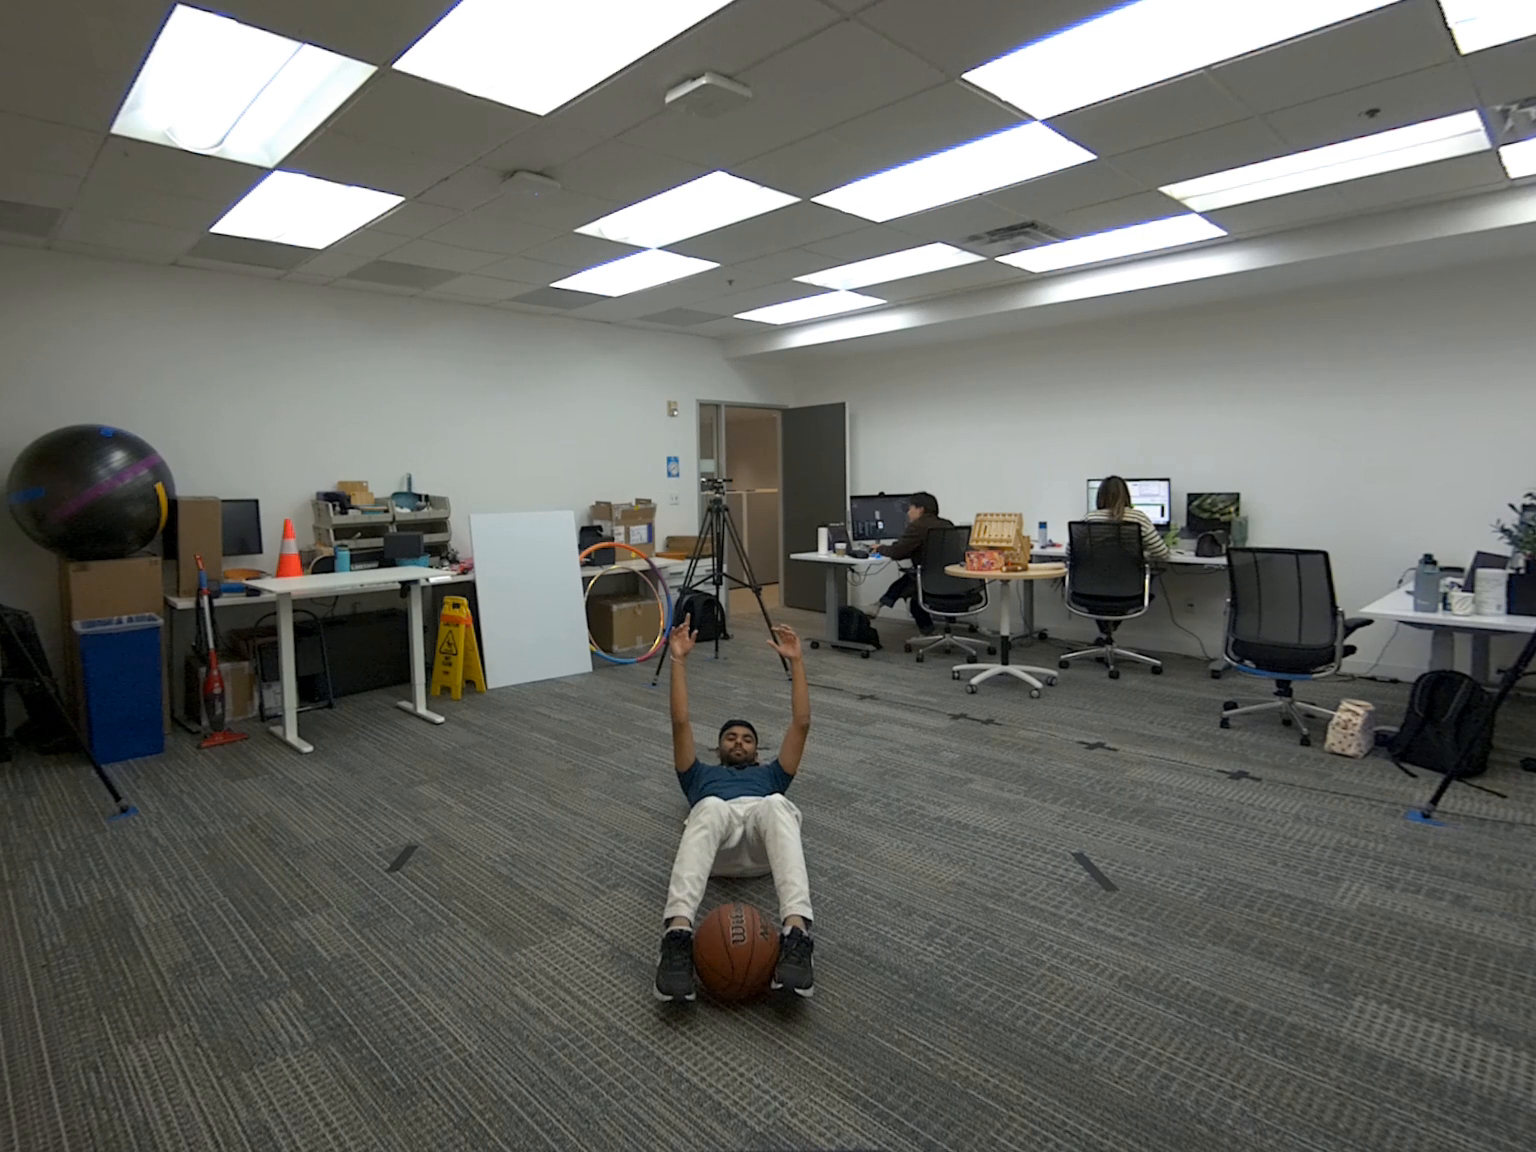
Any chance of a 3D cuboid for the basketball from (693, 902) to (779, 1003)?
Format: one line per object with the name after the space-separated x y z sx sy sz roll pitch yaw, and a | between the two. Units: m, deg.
-0.075 1.027 2.311 0.236 0.235 0.237 -1 5 -2 | basketball
